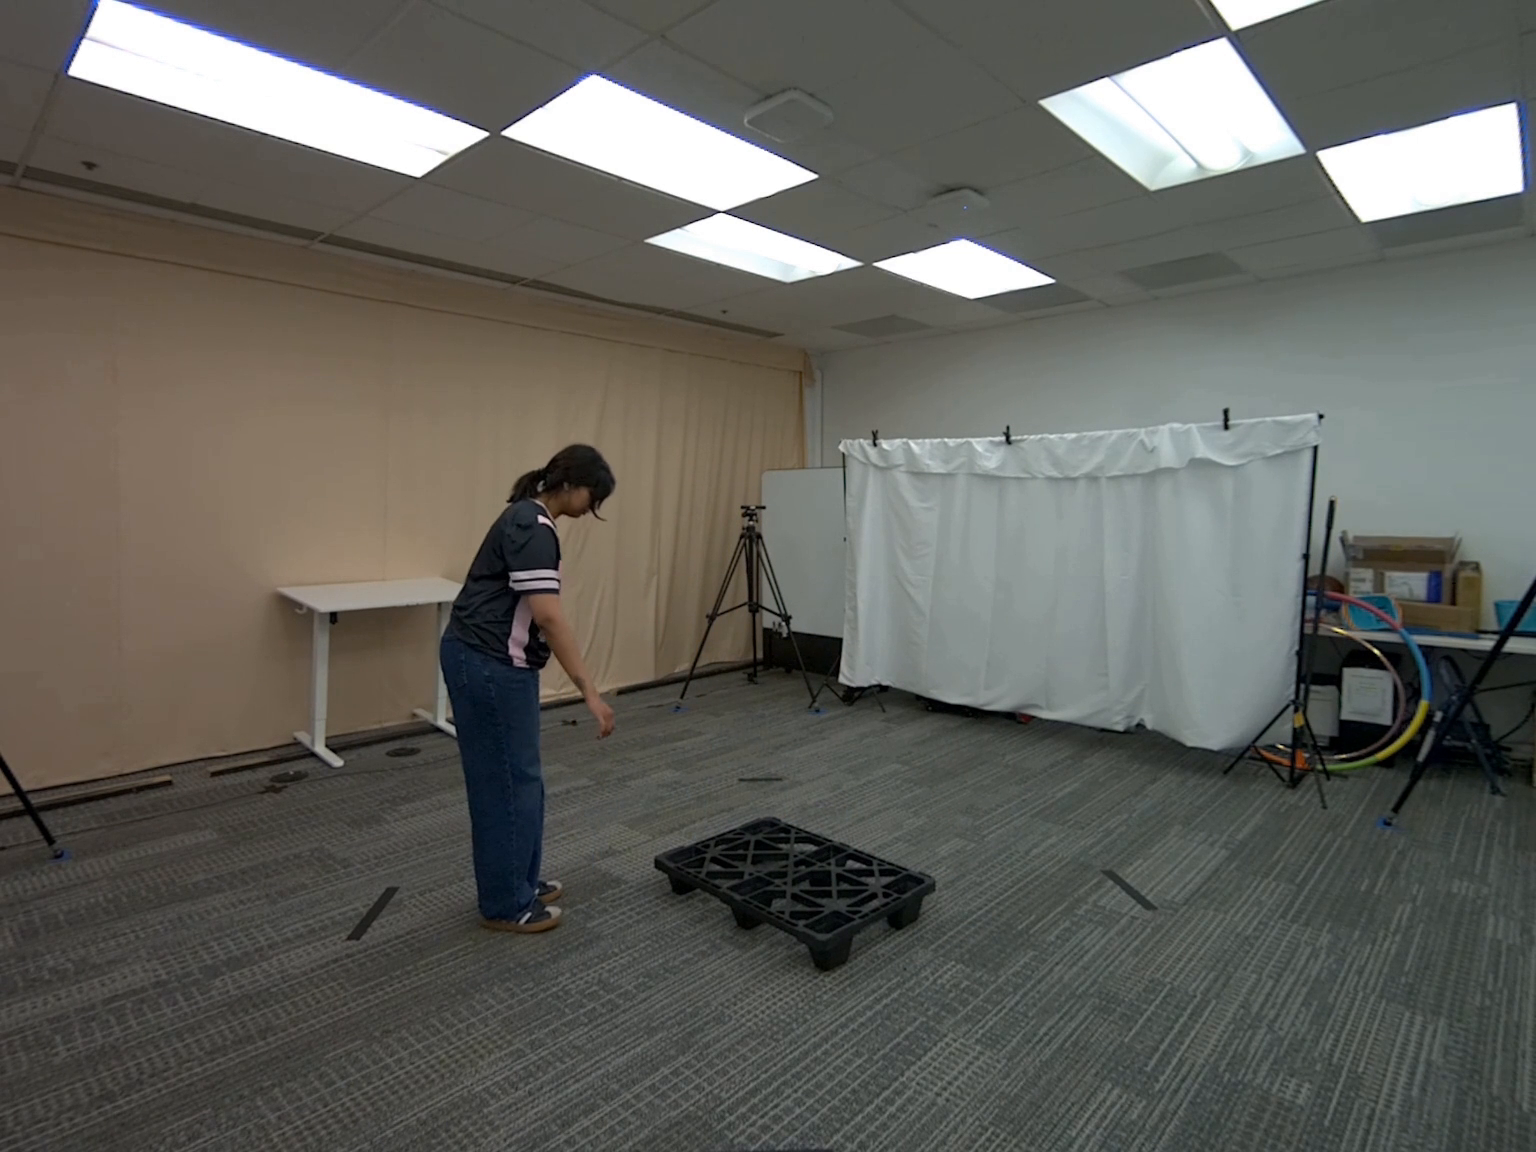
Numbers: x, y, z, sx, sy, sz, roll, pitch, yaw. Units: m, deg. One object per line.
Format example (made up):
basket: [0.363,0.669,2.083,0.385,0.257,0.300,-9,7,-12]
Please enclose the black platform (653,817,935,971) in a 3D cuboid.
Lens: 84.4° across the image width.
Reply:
black platform: [0.080,1.083,2.922,0.587,0.143,0.832,-5,7,-44]
